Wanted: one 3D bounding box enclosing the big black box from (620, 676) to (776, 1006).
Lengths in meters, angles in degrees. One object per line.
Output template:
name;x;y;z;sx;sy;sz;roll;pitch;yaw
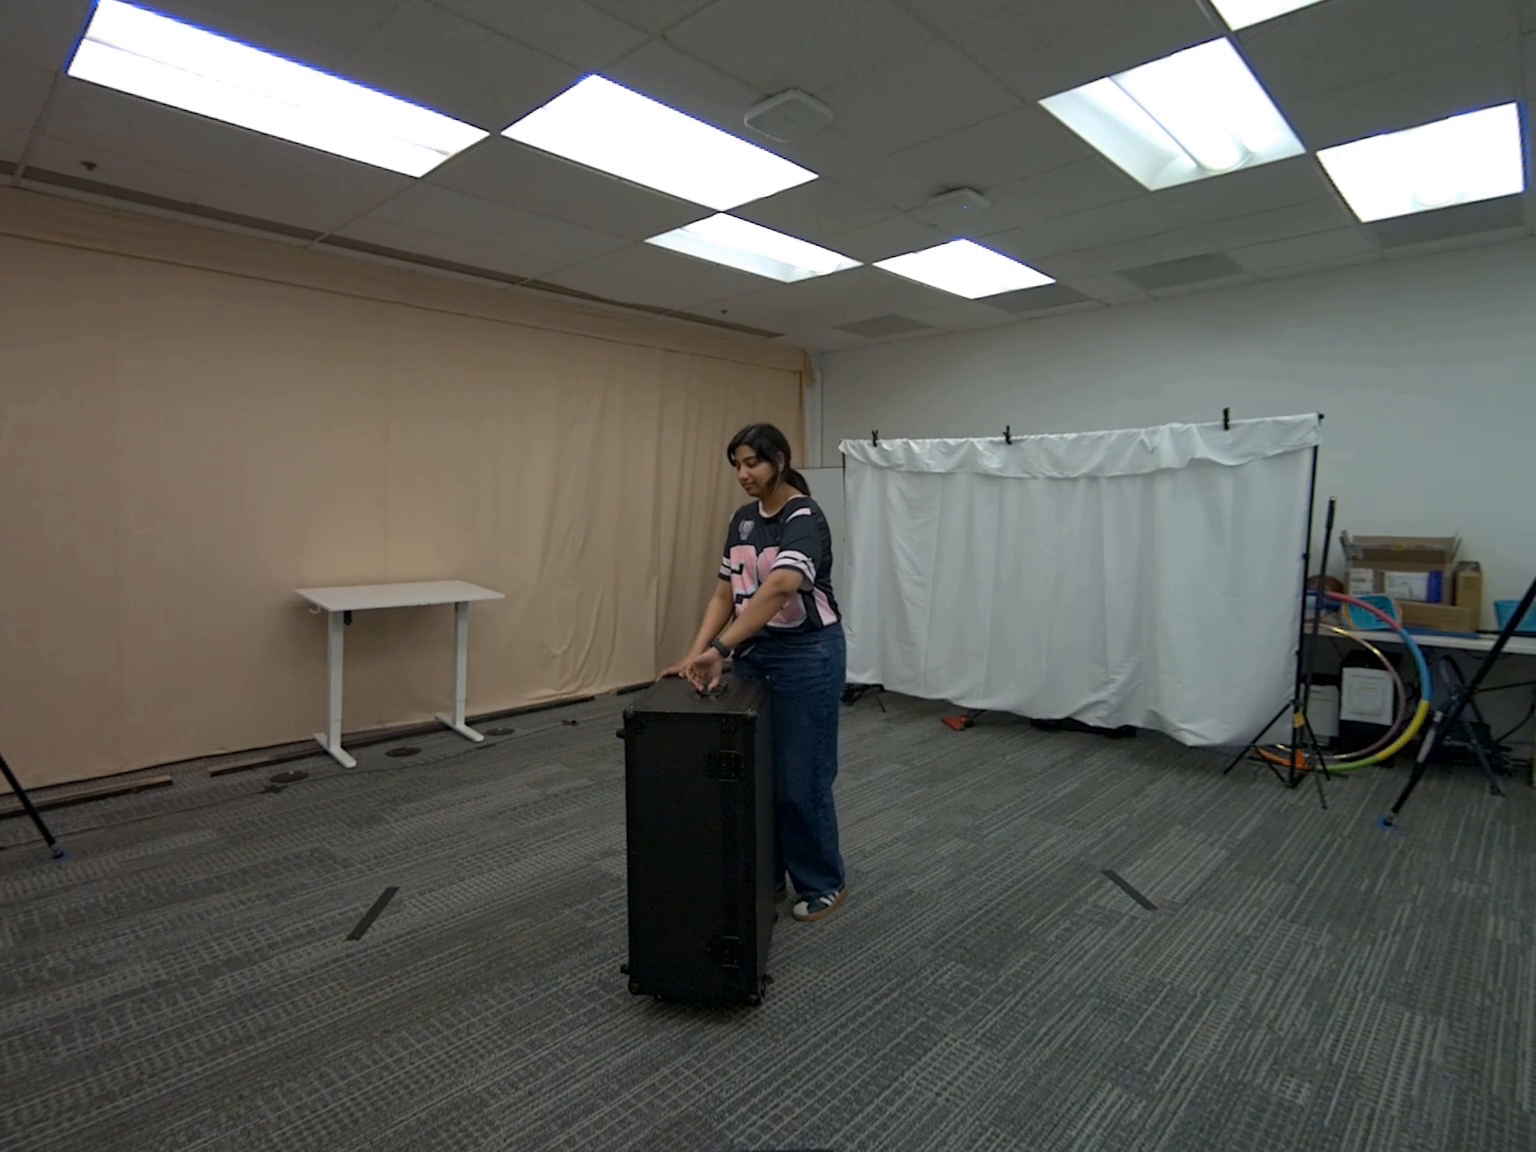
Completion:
big black box;-0.179;0.766;2.467;0.388;0.867;0.520;-1;2;7
